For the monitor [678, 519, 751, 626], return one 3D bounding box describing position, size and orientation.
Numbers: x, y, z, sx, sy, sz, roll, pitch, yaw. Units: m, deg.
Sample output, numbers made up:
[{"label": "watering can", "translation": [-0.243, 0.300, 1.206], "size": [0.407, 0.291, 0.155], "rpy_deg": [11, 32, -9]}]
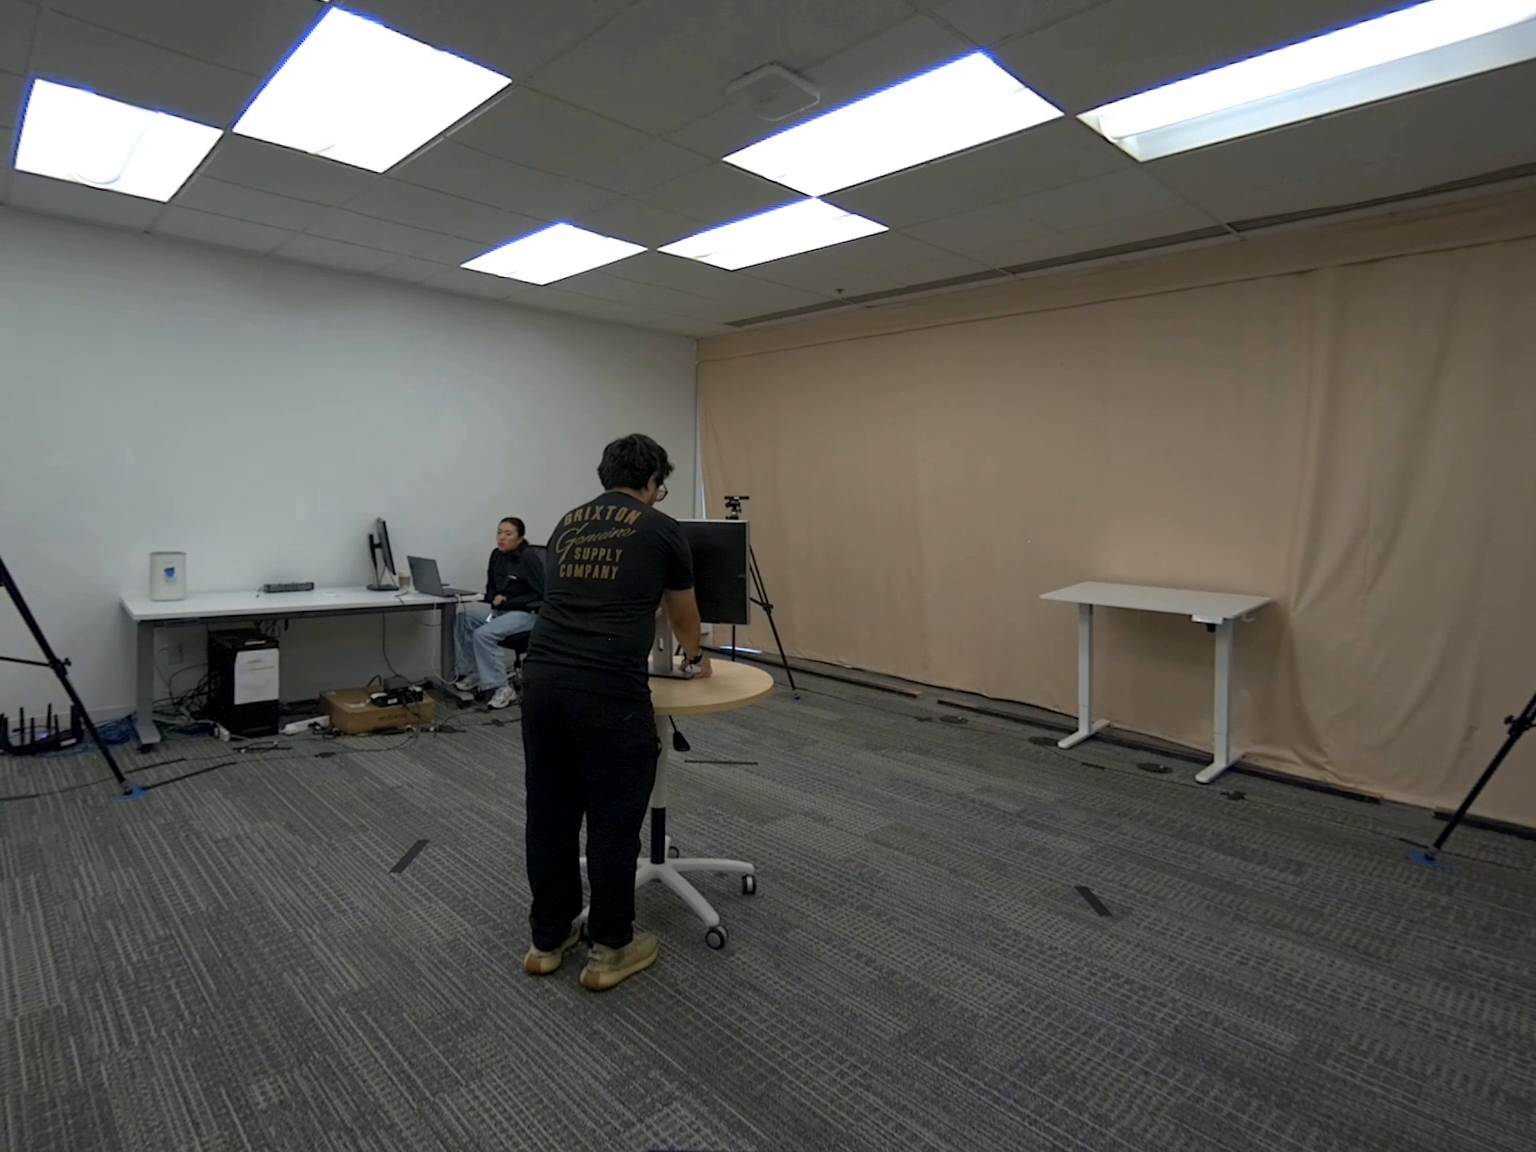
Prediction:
[{"label": "monitor", "translation": [-0.354, 0.077, 2.903], "size": [0.574, 0.552, 0.208], "rpy_deg": [2, 5, 18]}]
